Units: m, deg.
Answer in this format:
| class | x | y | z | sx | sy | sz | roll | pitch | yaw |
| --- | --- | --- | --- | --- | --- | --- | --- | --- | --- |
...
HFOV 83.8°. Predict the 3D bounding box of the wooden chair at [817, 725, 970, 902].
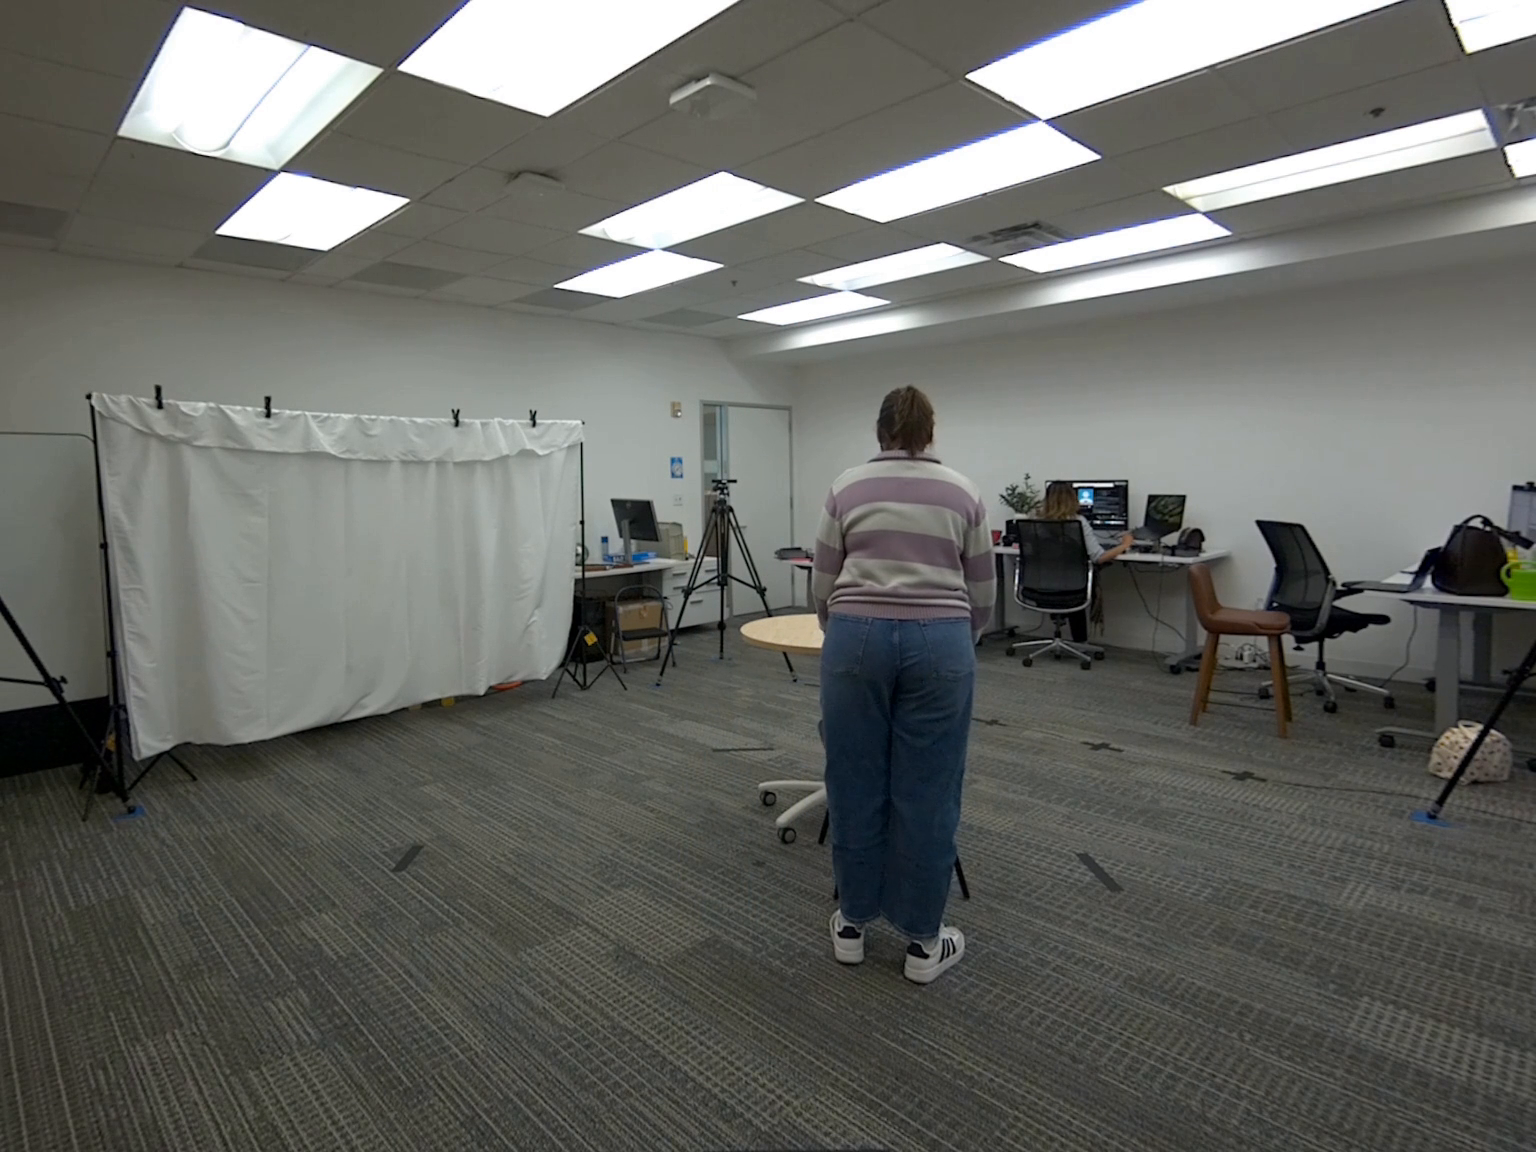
| class | x | y | z | sx | sy | sz | roll | pitch | yaw |
| --- | --- | --- | --- | --- | --- | --- | --- | --- | --- |
| wooden chair | 0.429 | 0.619 | 3.026 | 0.478 | 0.871 | 0.528 | -2 | 8 | -2 |
